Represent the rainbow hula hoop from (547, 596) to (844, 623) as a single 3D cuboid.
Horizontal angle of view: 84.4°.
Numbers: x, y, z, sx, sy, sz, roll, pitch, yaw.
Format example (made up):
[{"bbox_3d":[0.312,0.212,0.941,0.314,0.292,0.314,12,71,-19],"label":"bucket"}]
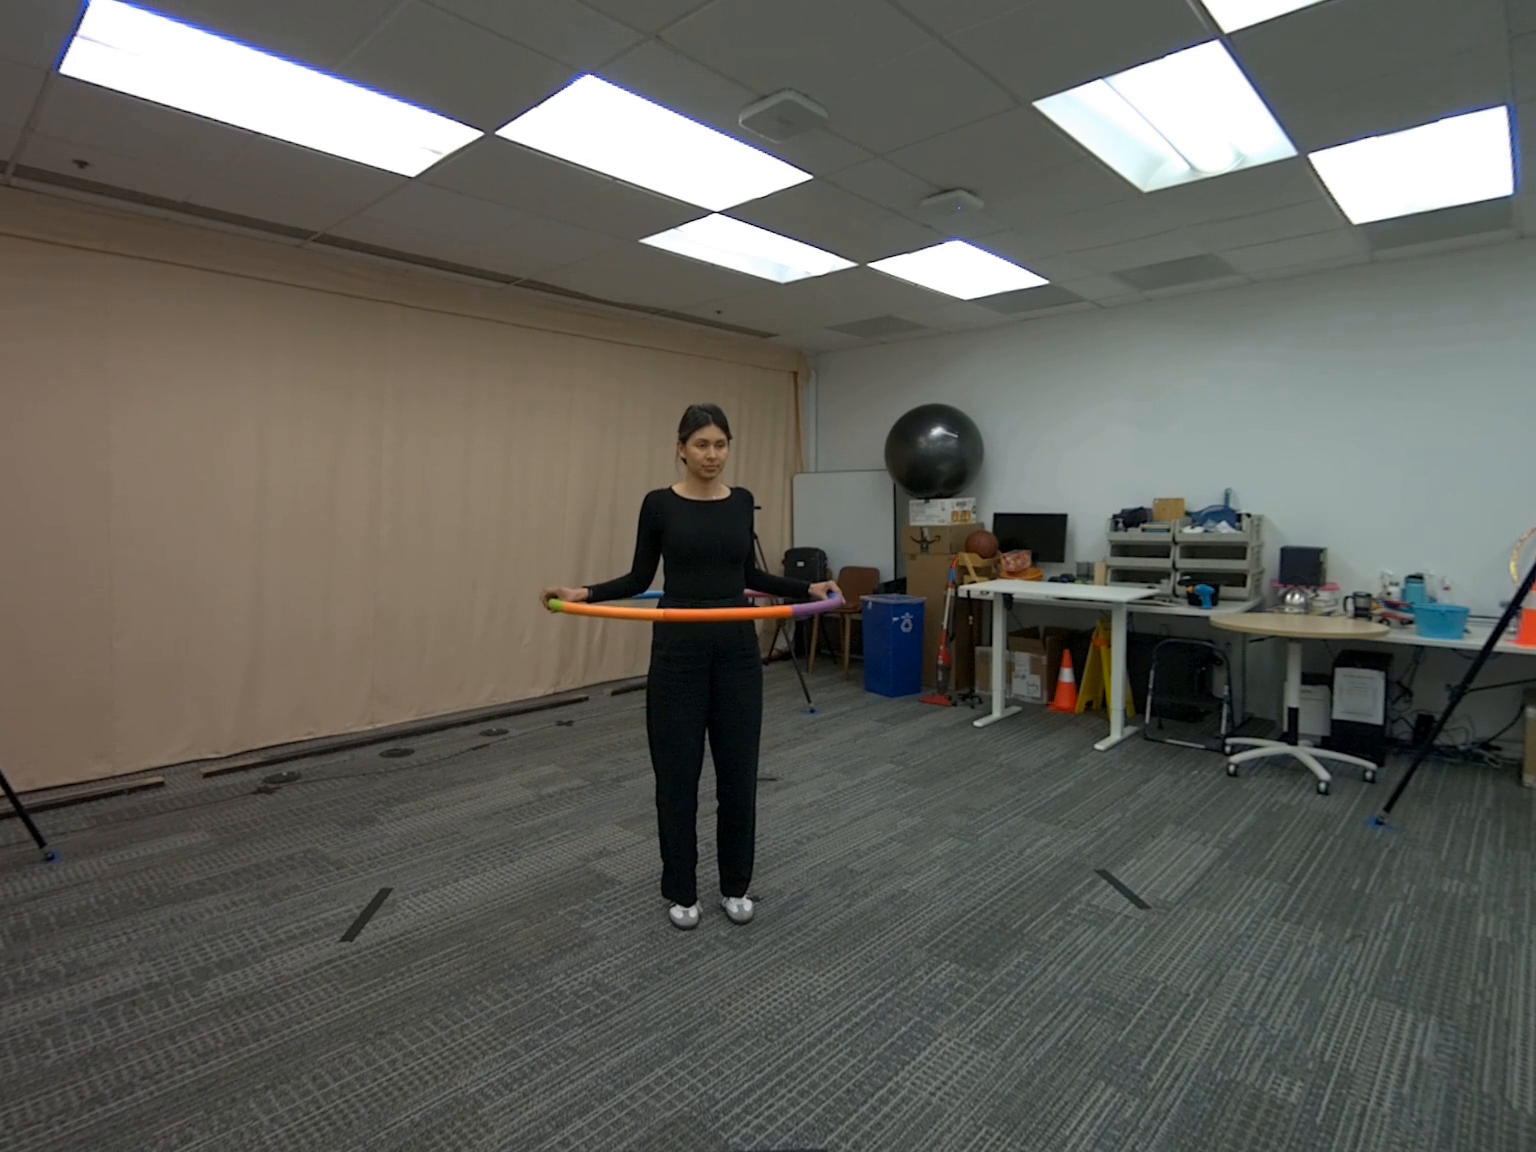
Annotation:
[{"bbox_3d":[-0.242,0.079,2.836,0.978,0.035,0.981,-1,3,-2],"label":"rainbow hula hoop"}]
